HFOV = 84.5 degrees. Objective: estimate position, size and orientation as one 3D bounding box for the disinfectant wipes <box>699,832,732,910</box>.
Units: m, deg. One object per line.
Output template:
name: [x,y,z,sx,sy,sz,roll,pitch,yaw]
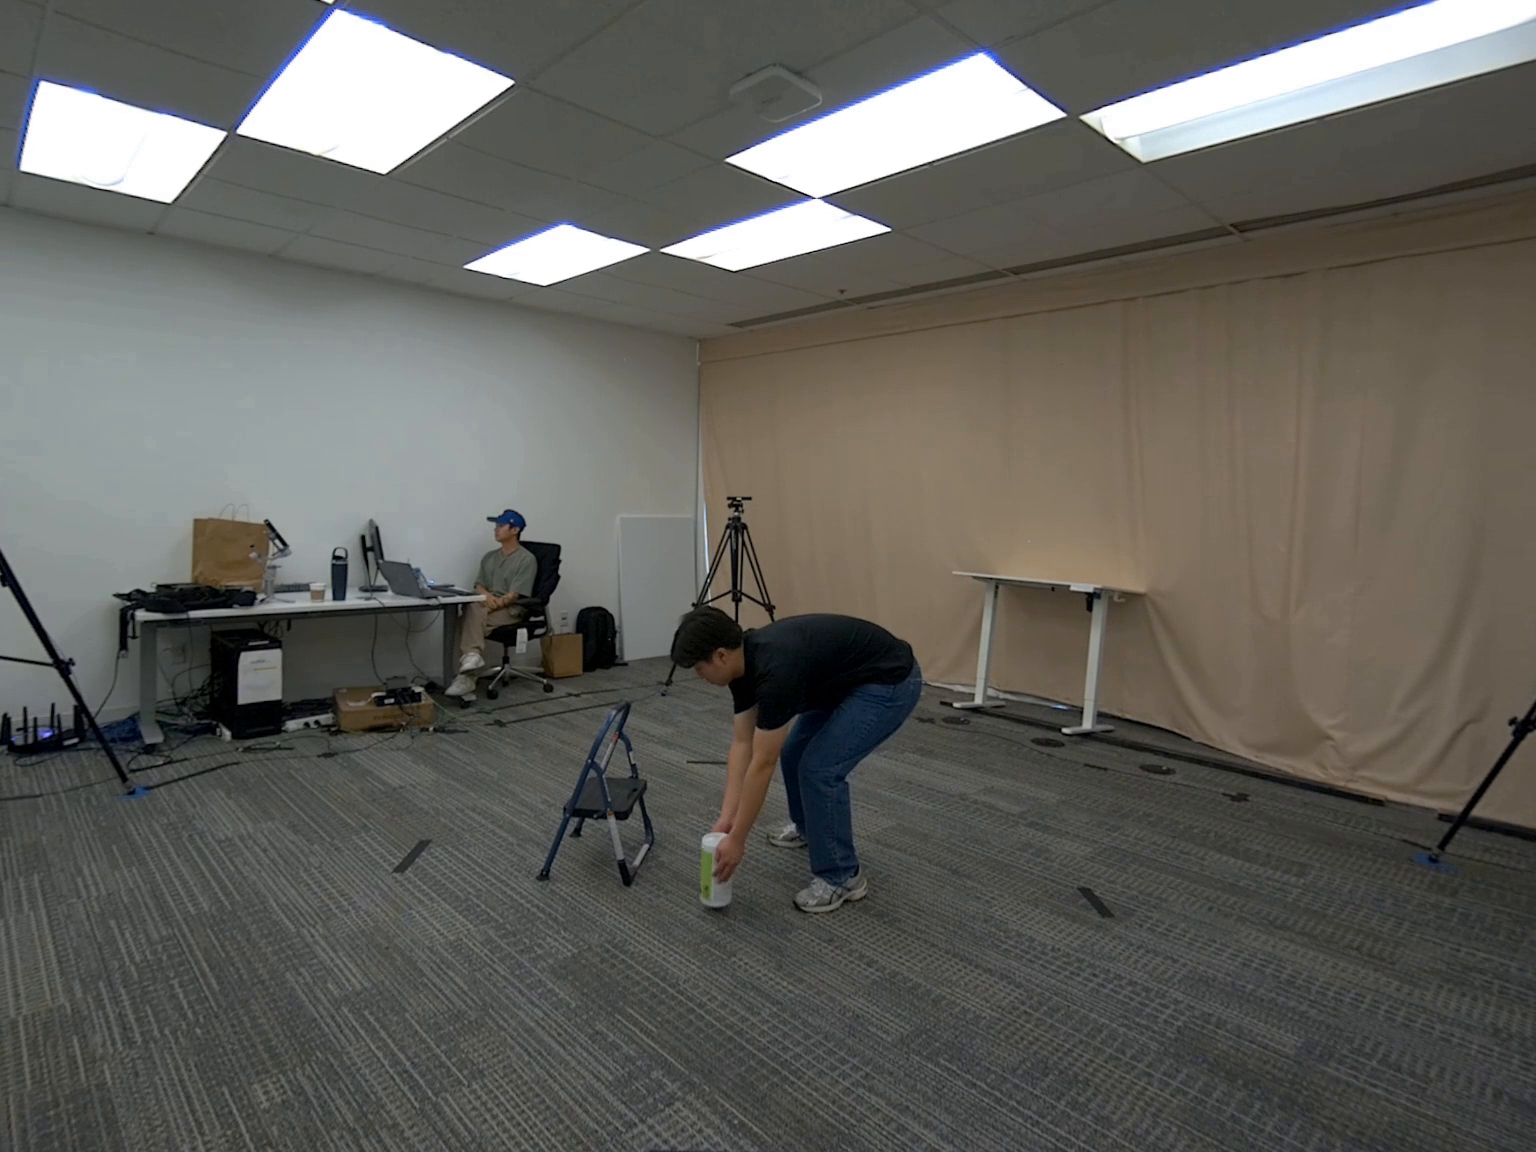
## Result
disinfectant wipes: [-0.169,0.990,2.839,0.118,0.217,0.118,0,5,-1]
